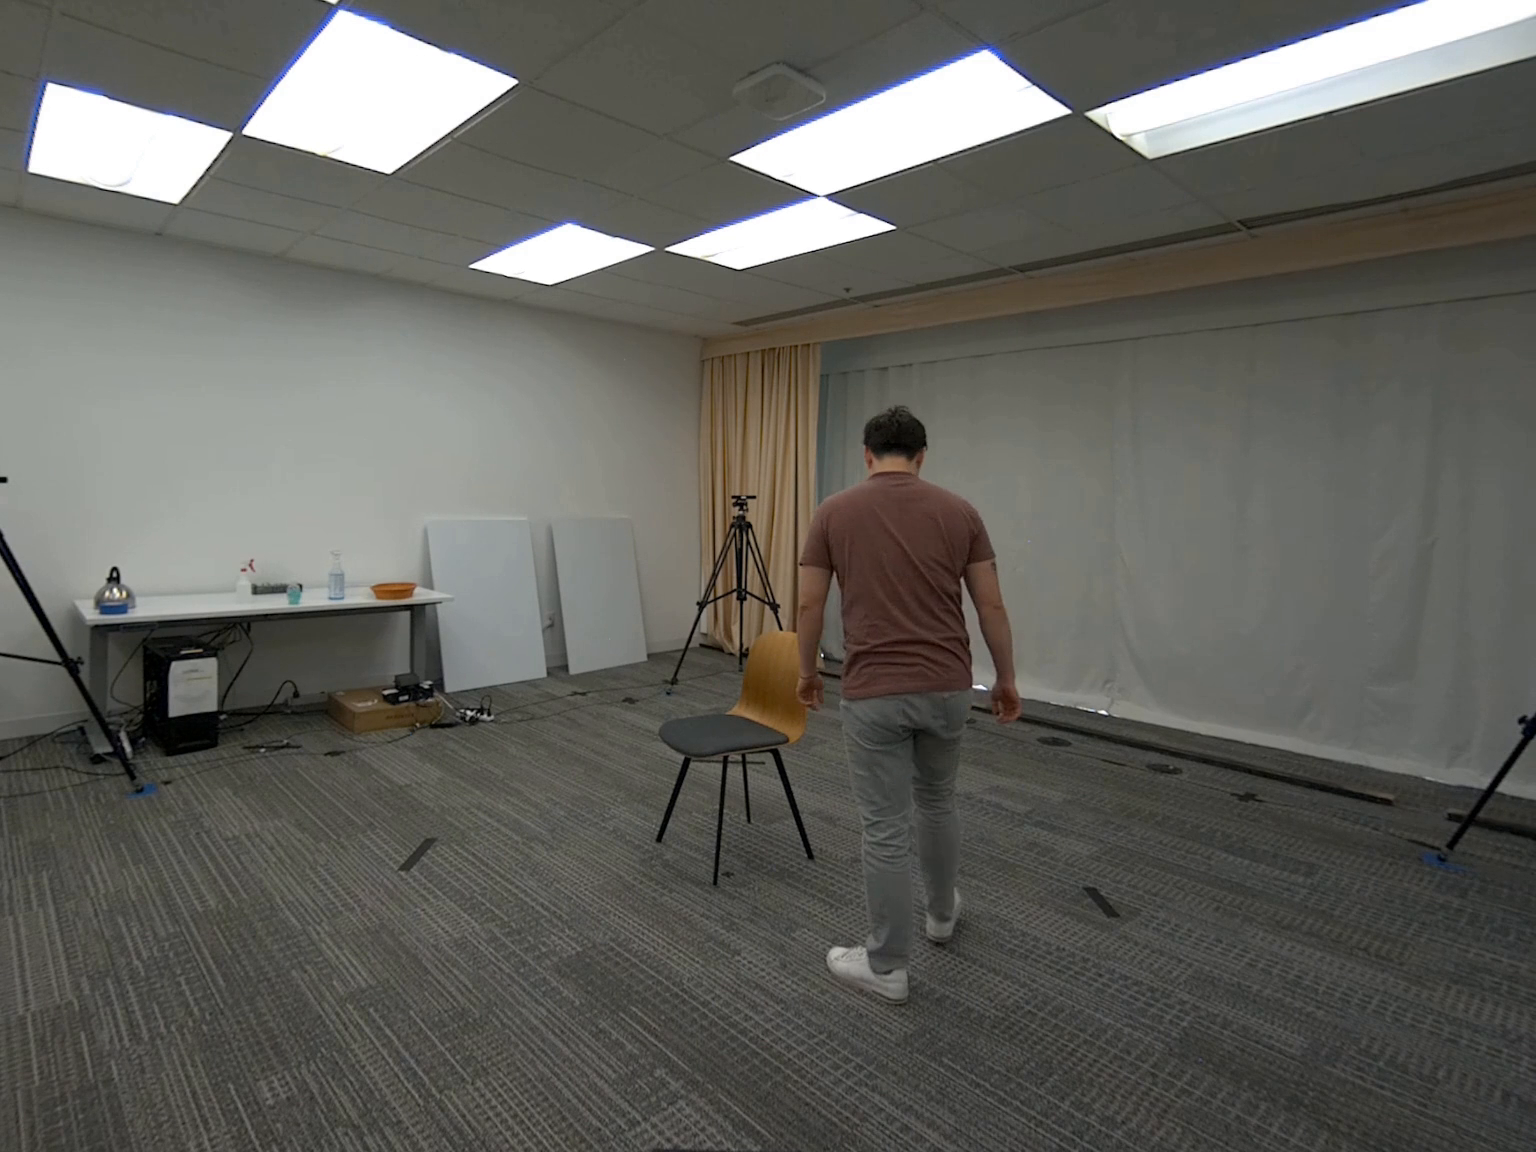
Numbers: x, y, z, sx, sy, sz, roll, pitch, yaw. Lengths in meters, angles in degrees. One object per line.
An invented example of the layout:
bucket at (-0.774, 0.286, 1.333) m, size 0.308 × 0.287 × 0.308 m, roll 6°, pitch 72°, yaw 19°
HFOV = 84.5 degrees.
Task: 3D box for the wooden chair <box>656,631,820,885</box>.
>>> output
wooden chair at (-0.139, 0.658, 3.280) m, size 0.511 × 0.877 × 0.489 m, roll 4°, pitch 1°, yaw -34°
